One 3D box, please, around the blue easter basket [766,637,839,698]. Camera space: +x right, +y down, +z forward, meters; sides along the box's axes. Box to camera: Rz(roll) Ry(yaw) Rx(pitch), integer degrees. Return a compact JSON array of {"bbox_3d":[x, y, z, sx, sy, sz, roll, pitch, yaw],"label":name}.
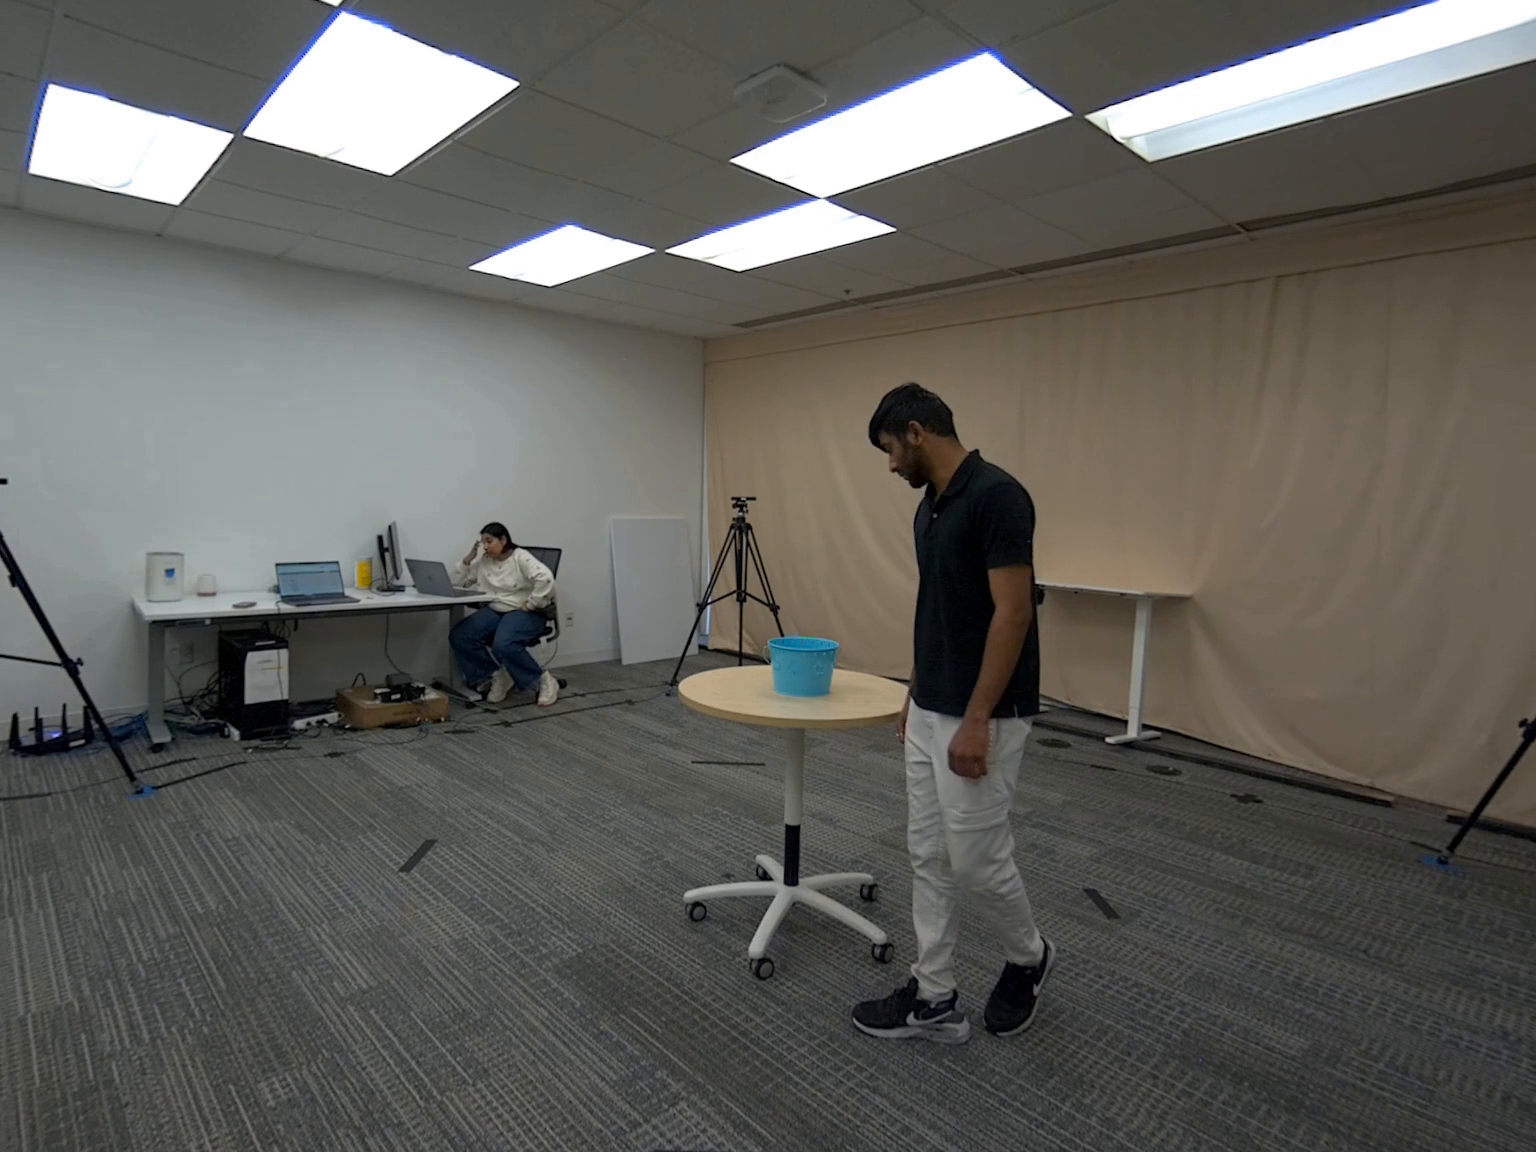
[{"bbox_3d":[0.108,0.297,2.688,0.243,0.155,0.244,3,5,-2],"label":"blue easter basket"}]
